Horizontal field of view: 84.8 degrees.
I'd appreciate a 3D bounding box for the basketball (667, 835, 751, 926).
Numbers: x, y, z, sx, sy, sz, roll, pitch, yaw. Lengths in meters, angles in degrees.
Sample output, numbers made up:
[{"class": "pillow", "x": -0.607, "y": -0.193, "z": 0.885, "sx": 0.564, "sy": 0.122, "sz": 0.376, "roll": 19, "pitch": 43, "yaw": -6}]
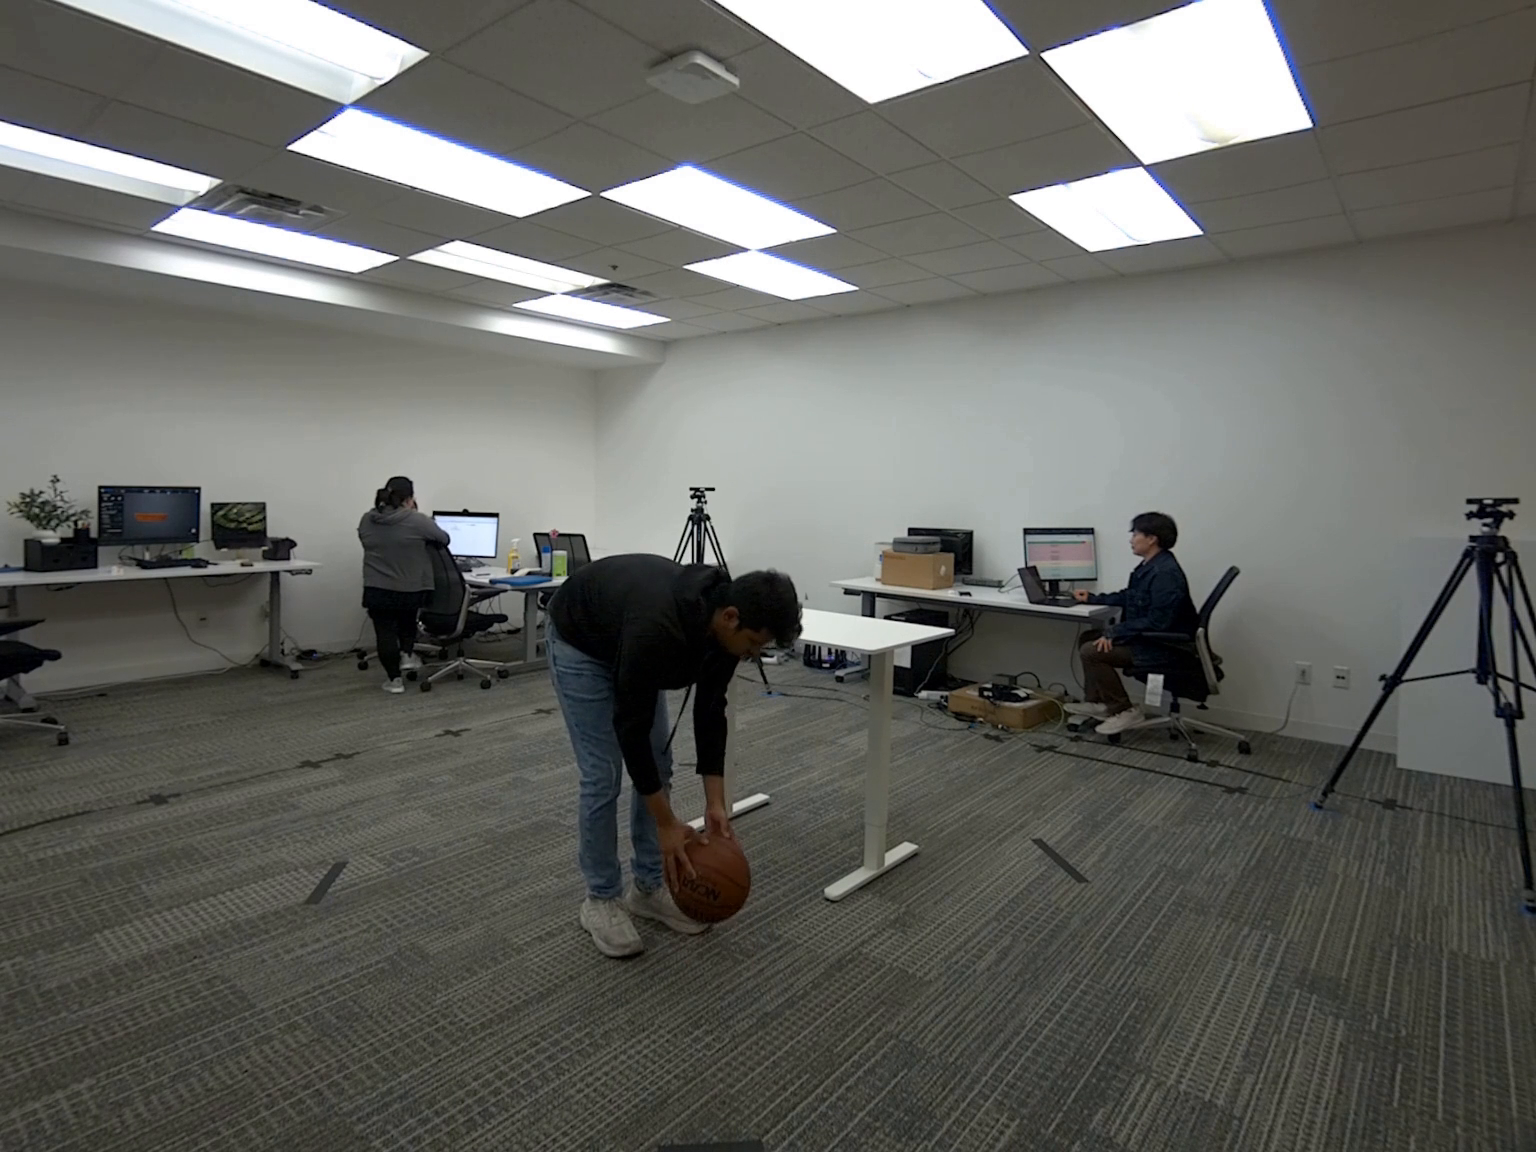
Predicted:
[{"class": "basketball", "x": -0.174, "y": 0.855, "z": 2.443, "sx": 0.235, "sy": 0.235, "sz": 0.237, "roll": 1, "pitch": 4, "yaw": -2}]
